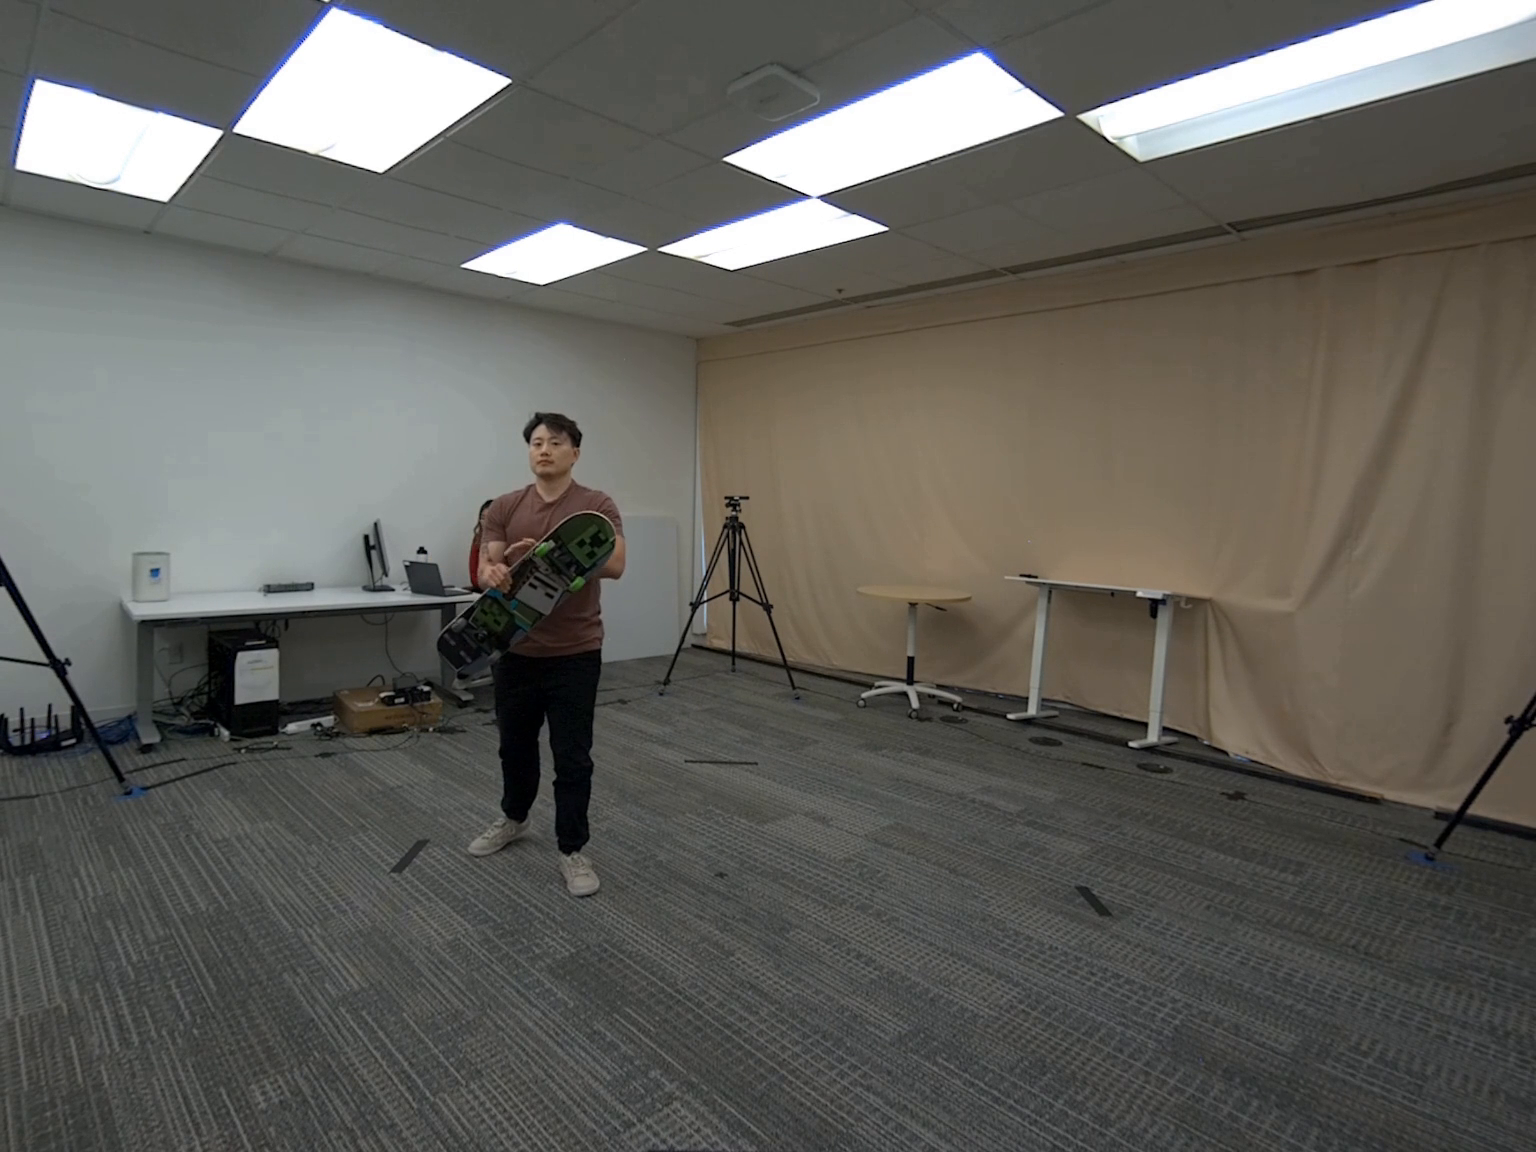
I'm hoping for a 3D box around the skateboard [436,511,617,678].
[{"bbox_3d":[-0.831,0.086,2.712,0.787,0.190,0.112,-41,15,16],"label":"skateboard"}]
